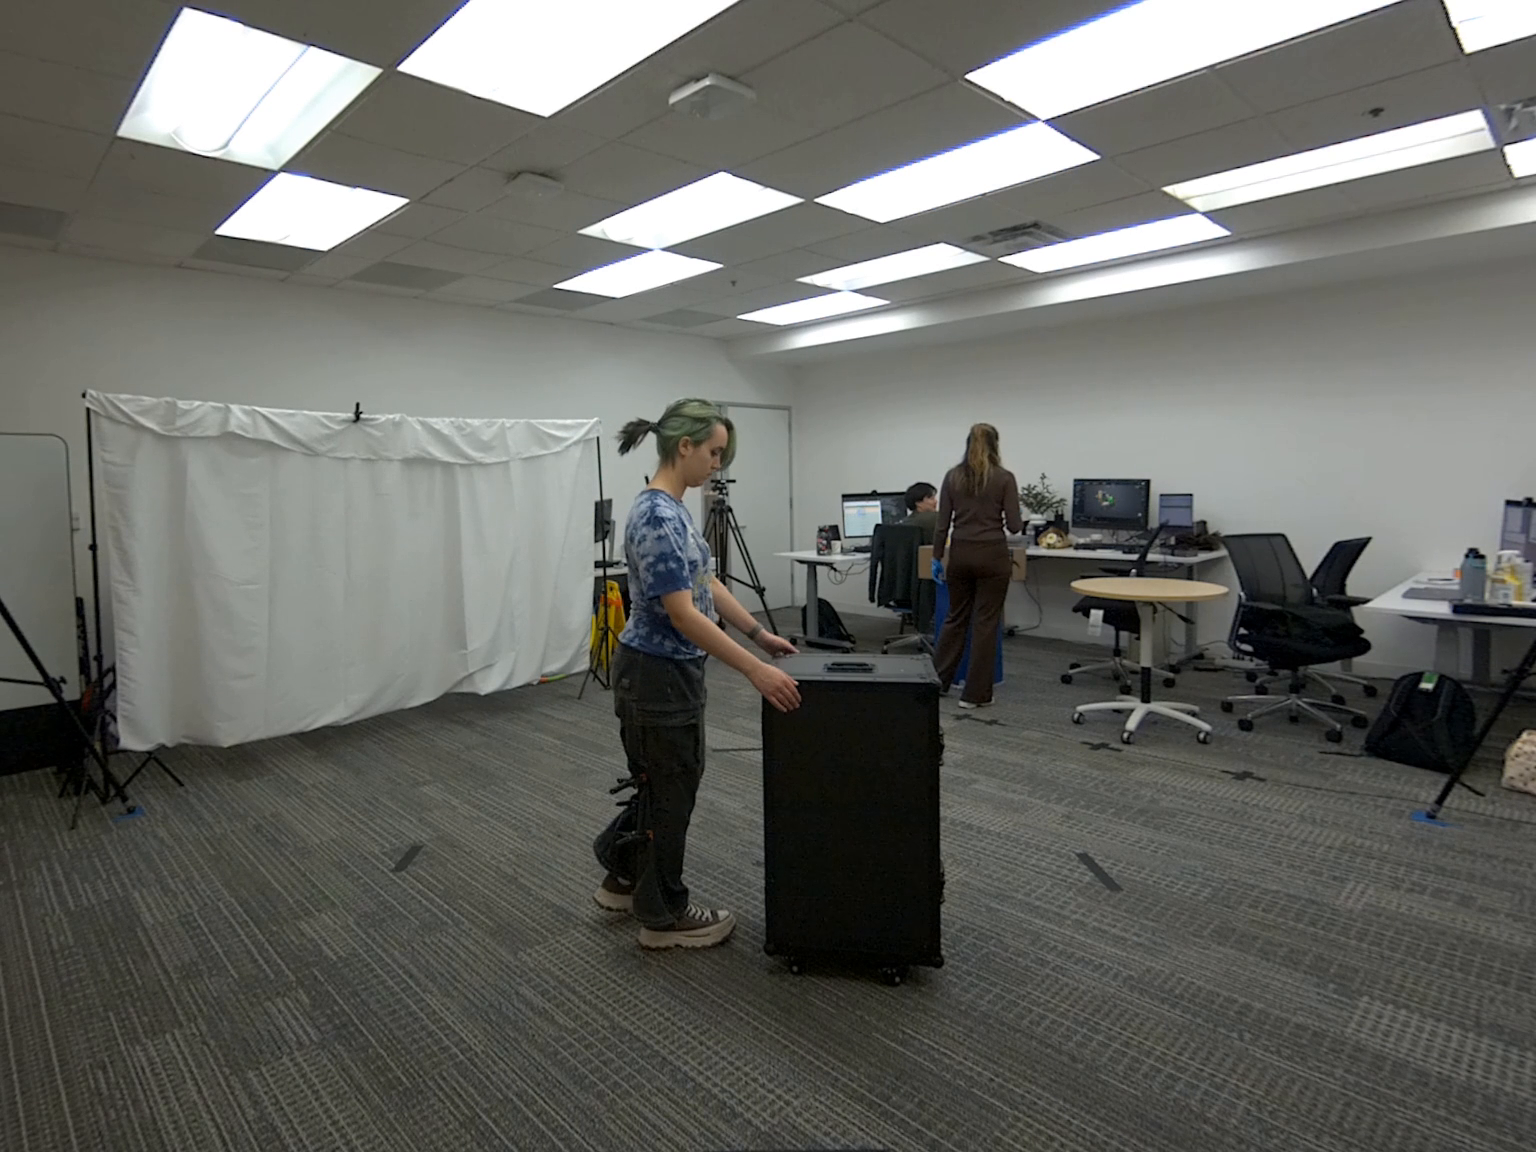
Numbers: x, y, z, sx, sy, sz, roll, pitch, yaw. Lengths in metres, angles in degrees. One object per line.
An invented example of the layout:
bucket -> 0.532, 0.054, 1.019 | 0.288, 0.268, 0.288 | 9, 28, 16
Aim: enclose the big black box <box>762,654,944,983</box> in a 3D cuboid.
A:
big black box -> 0.247, 0.686, 2.505 | 0.526, 0.859, 0.394 | 0, 3, 9
